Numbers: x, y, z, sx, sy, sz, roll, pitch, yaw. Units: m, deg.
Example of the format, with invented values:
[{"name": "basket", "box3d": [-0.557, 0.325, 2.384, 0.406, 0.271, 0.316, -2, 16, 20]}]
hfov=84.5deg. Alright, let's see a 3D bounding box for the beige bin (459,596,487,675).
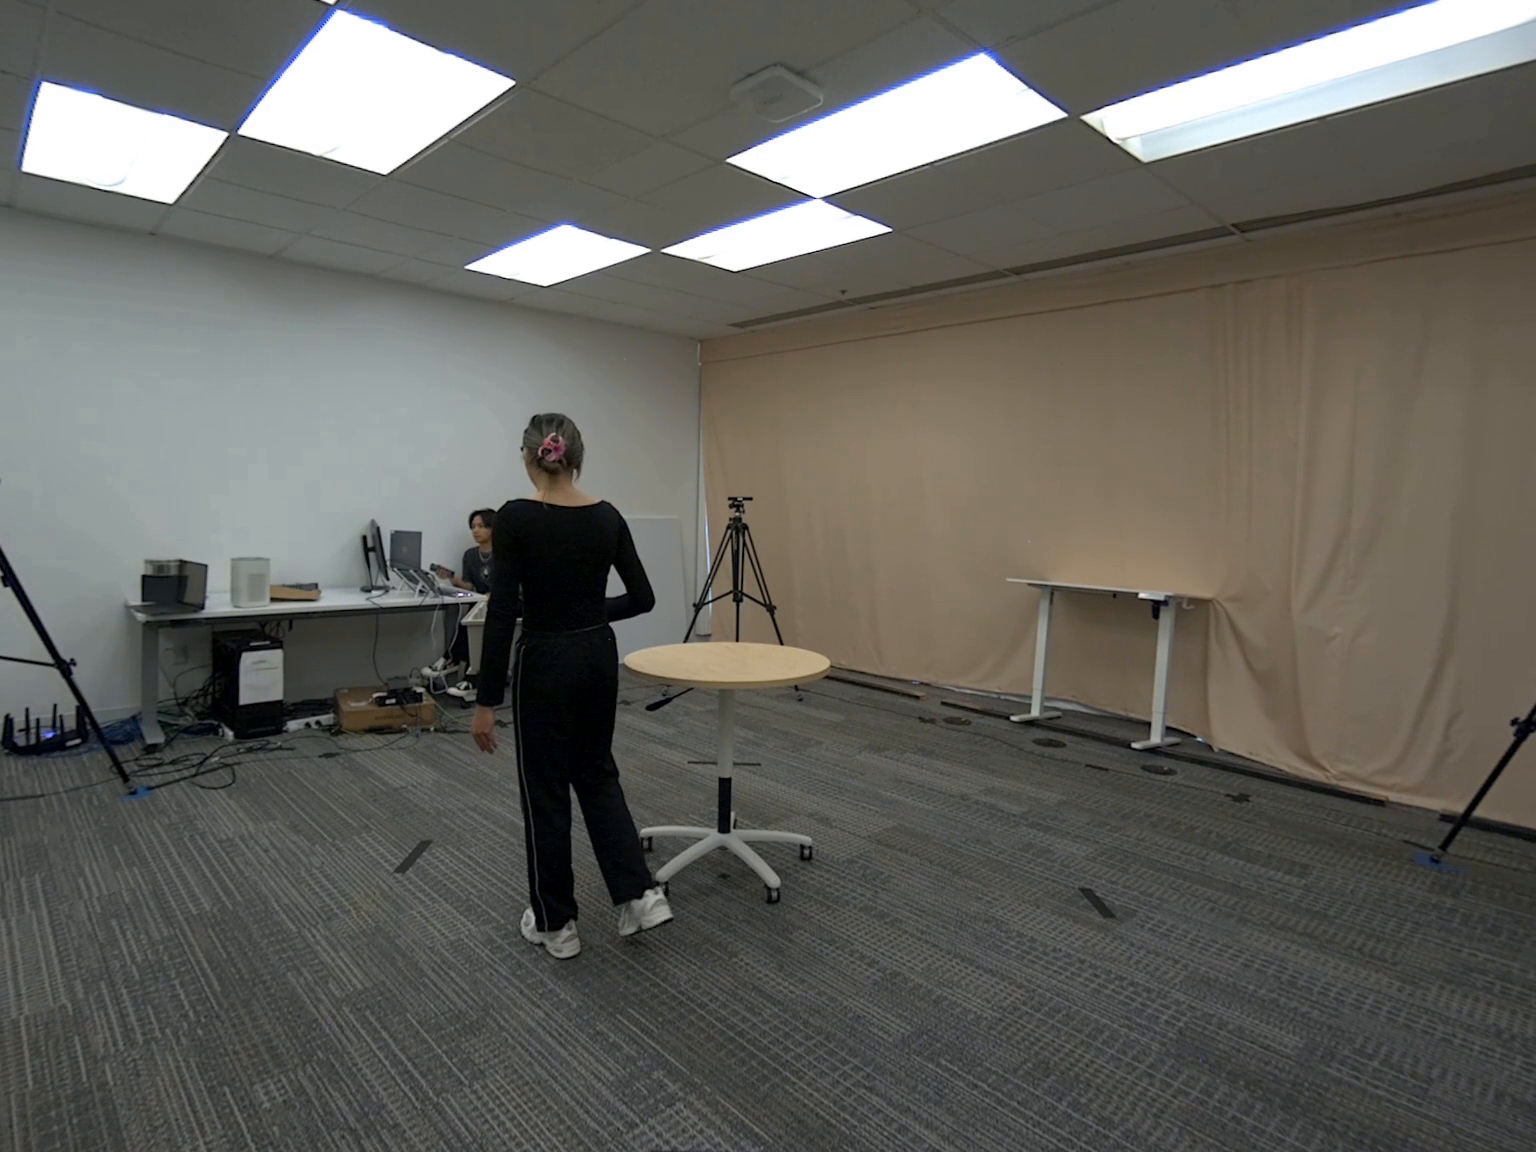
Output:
[{"name": "beige bin", "box3d": [-0.794, 0.201, 2.873, 0.419, 0.188, 0.382, -2, 10, -9]}]
